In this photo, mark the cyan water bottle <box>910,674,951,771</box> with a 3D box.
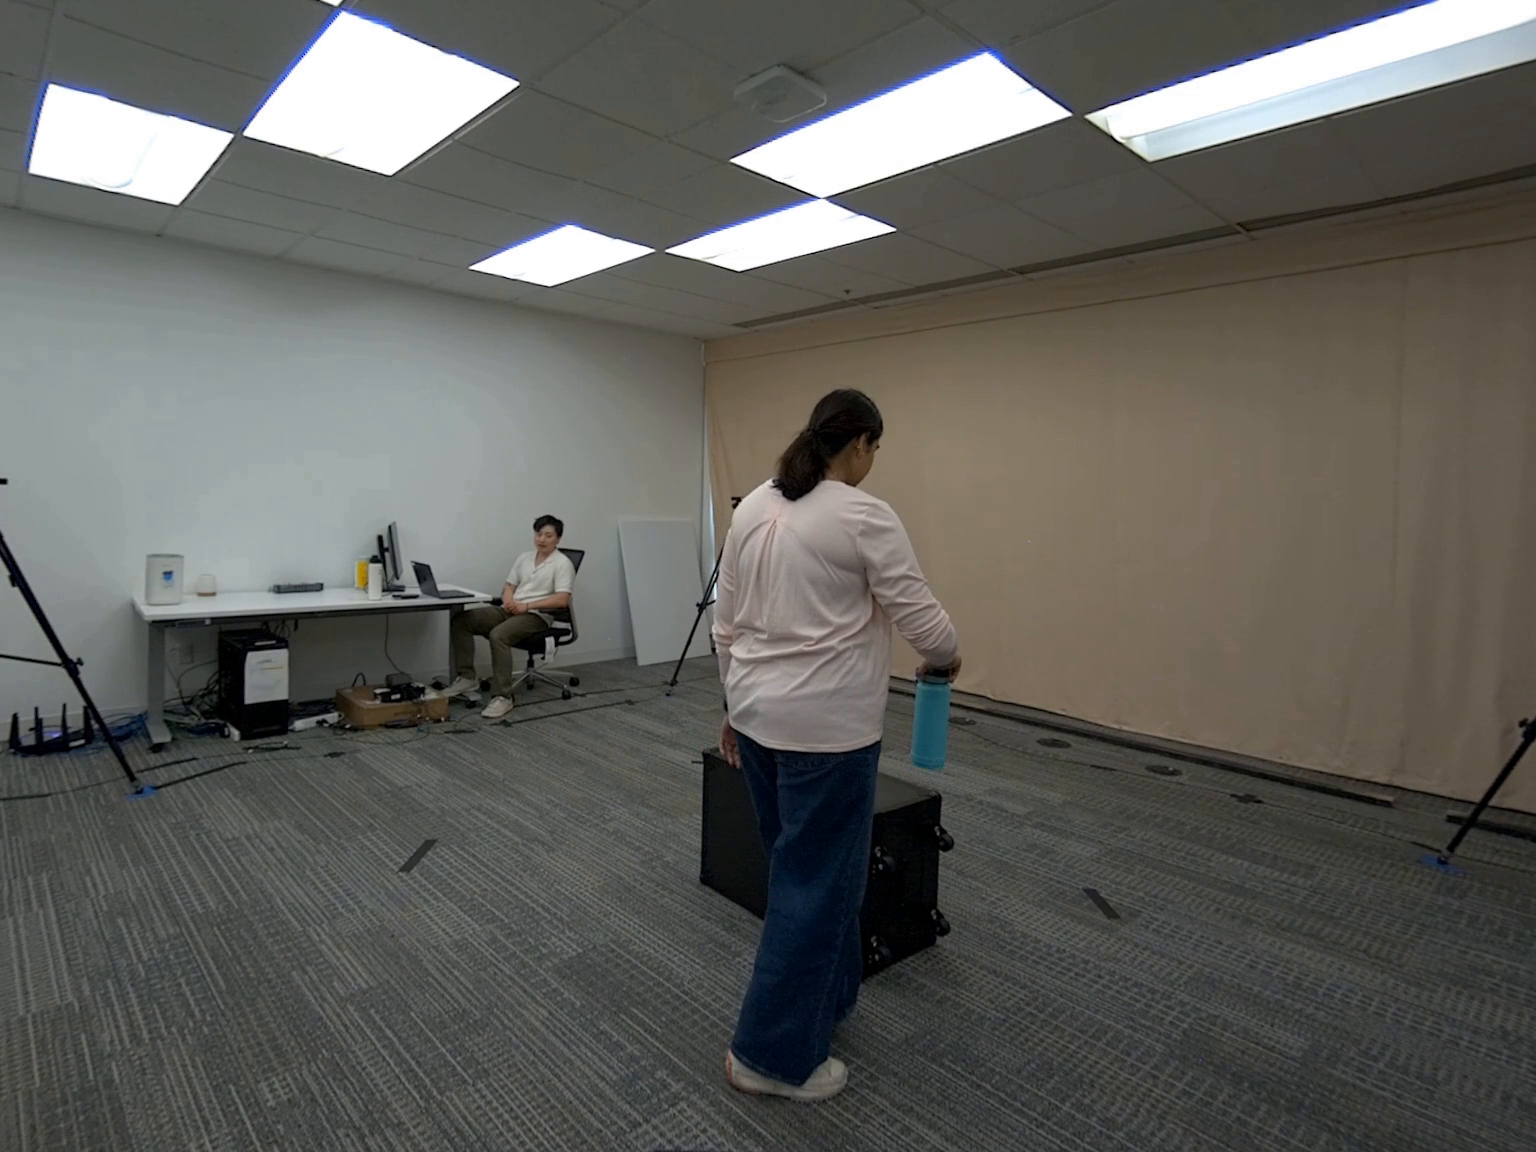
[{"bbox_3d":[0.434,0.368,2.238,0.092,0.282,0.093,2,6,-2],"label":"cyan water bottle"}]
